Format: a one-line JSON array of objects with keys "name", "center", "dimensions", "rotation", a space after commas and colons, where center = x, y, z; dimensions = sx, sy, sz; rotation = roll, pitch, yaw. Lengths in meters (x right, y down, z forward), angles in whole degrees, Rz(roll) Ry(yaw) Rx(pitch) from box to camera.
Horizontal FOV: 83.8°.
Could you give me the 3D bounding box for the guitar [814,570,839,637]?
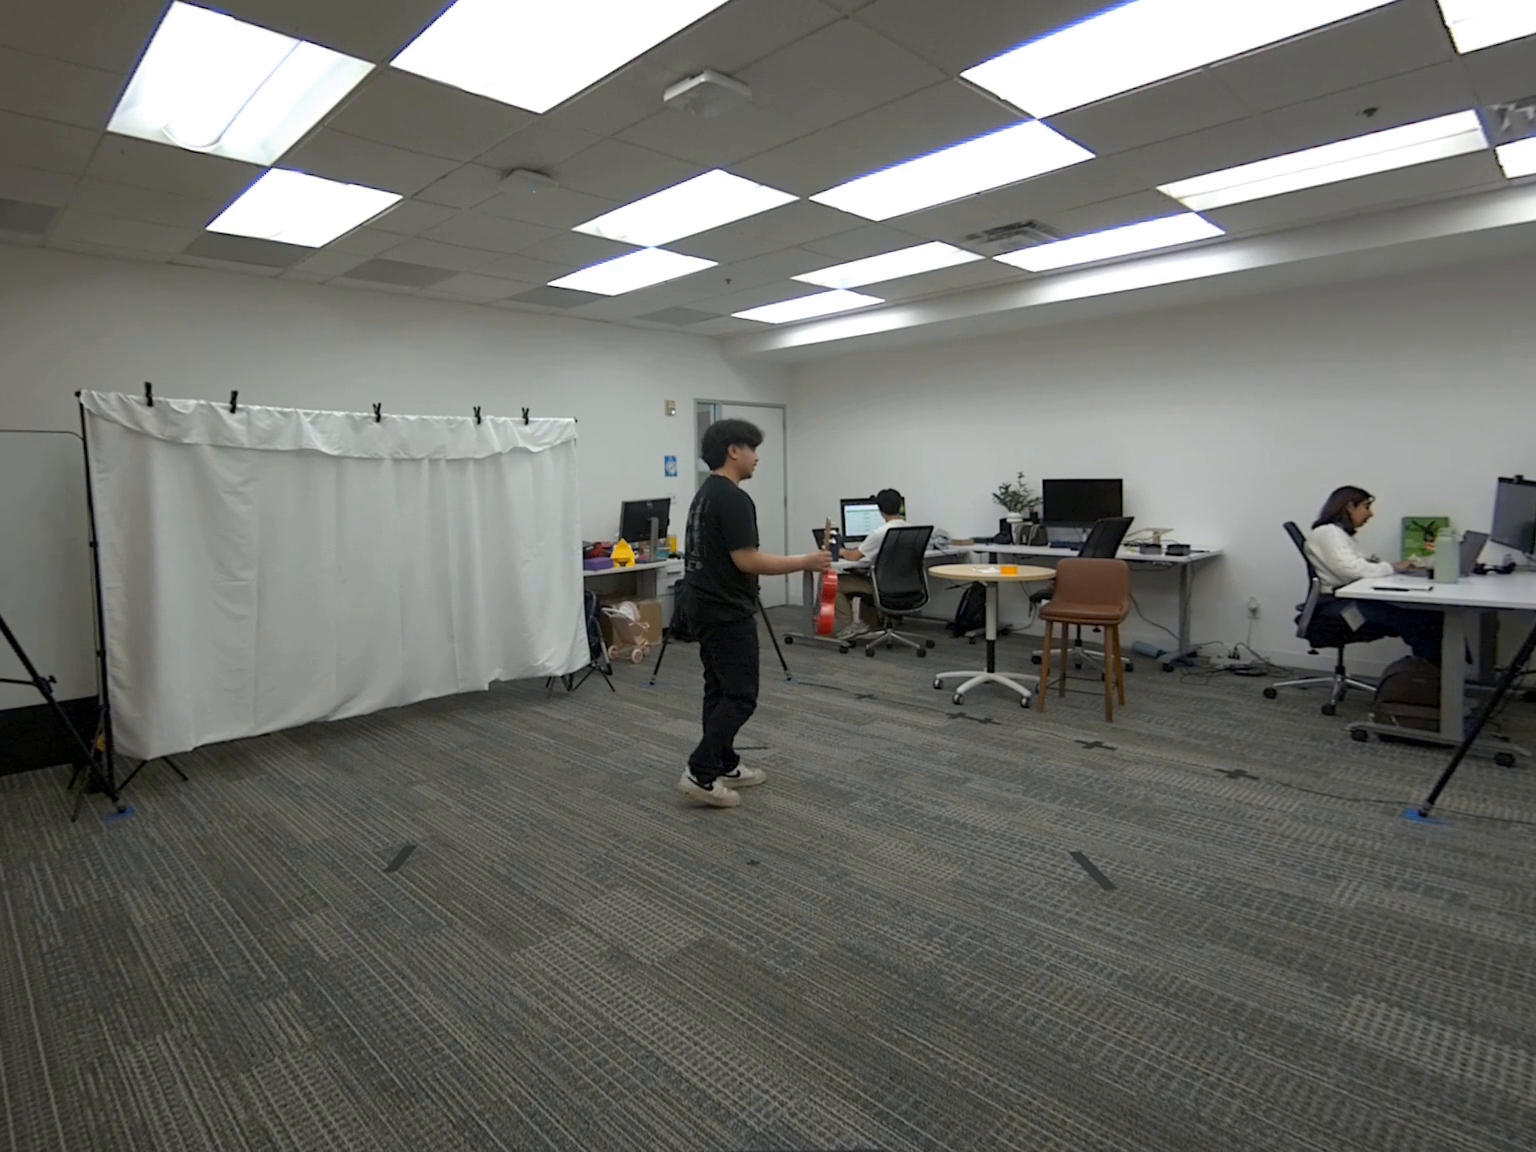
[{"name": "guitar", "center": [0.250, 0.012, 3.574], "dimensions": [0.070, 0.491, 0.196], "rotation": [6, 17, -2]}]
